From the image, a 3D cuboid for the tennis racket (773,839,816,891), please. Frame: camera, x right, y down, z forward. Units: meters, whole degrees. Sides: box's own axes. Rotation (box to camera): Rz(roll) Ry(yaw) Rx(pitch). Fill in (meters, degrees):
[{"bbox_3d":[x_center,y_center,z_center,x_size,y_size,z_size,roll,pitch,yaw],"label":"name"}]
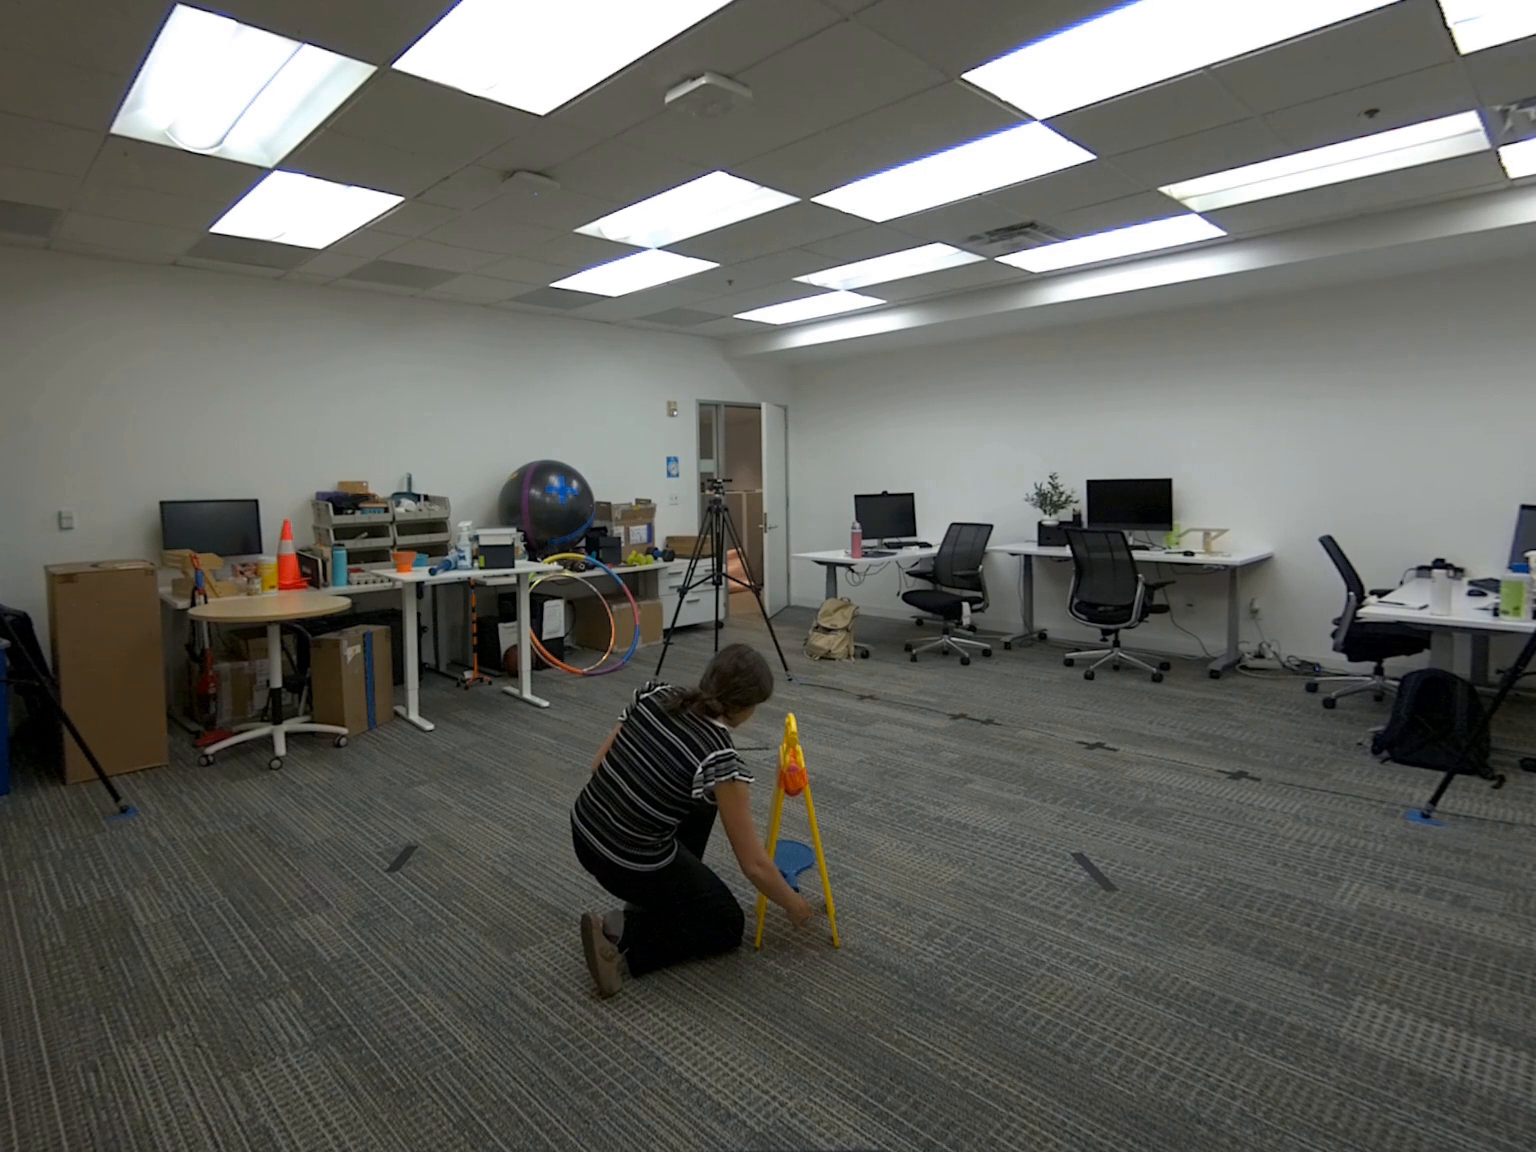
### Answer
[{"bbox_3d":[0.067,1.024,3.054,0.214,0.031,0.434,-1,5,-1],"label":"tennis racket"}]
